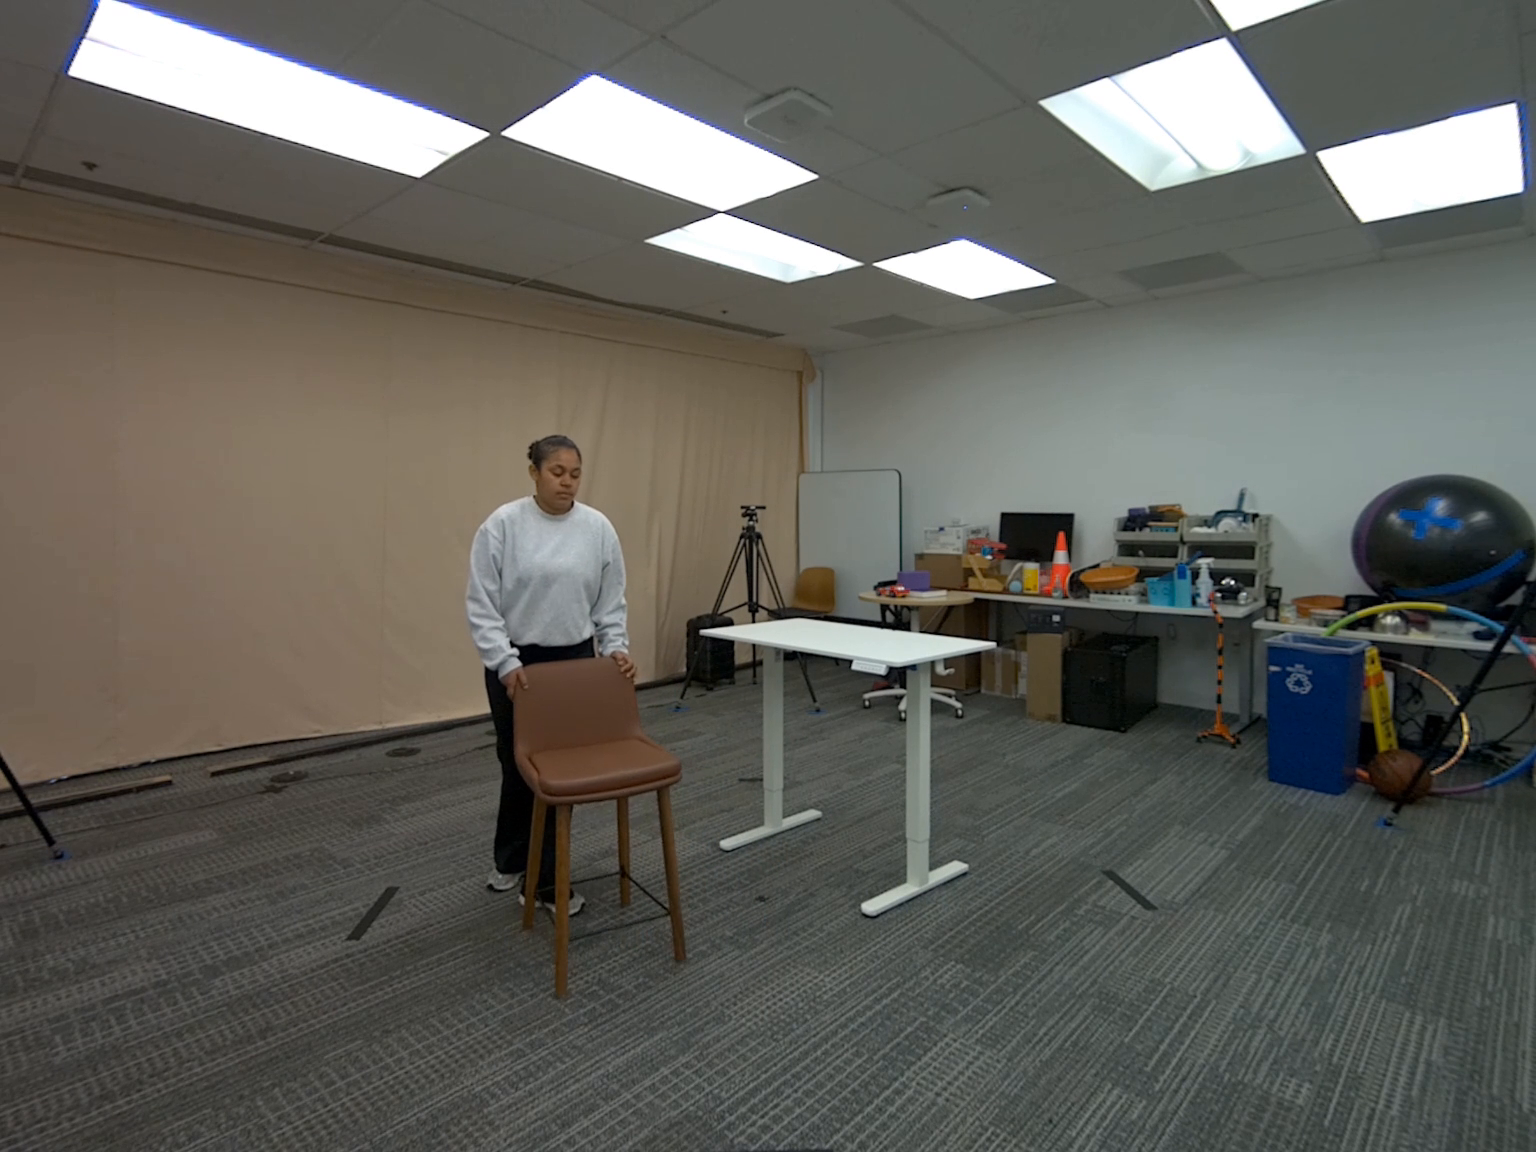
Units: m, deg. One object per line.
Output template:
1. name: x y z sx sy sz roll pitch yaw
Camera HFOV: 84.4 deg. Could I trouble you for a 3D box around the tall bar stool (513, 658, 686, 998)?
1. tall bar stool: -0.534 0.734 2.656 0.444 0.889 0.480 -2 2 -29
